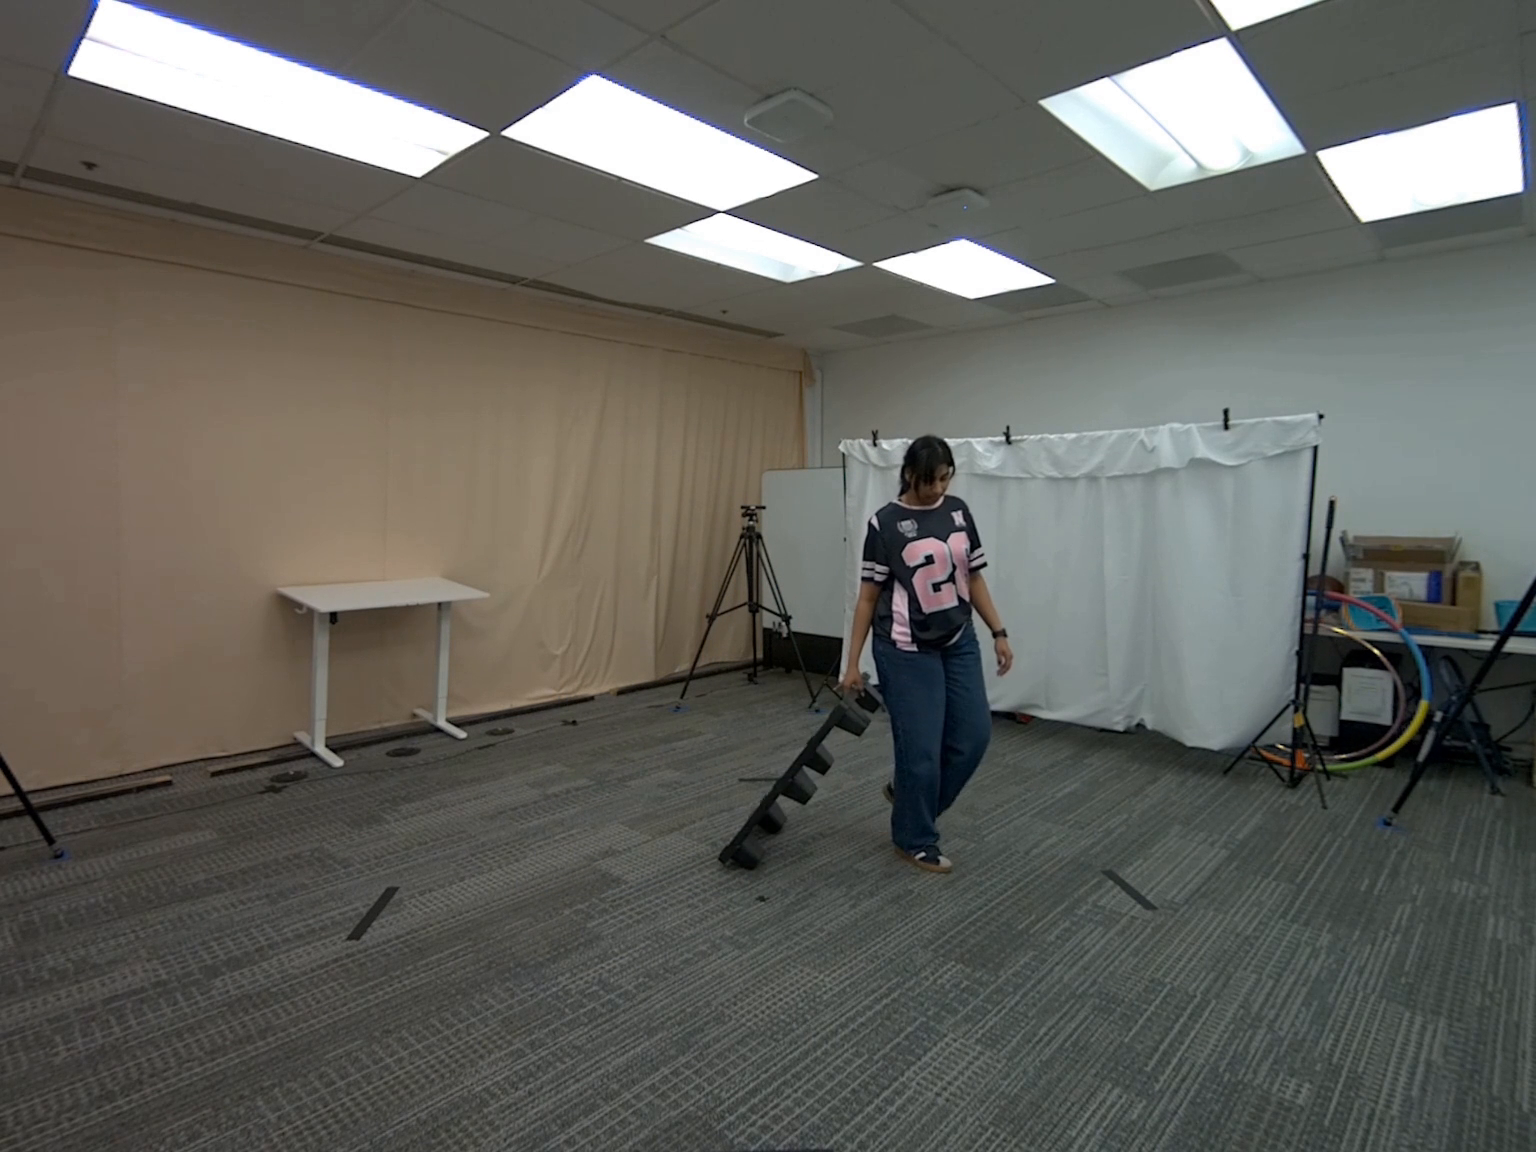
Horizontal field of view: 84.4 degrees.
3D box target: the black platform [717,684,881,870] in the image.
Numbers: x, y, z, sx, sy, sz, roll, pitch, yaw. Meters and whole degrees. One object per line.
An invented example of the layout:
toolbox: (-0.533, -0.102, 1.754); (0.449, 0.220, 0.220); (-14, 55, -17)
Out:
black platform: (0.158, 0.778, 3.377); (0.145, 0.806, 0.595); (38, 12, 10)
